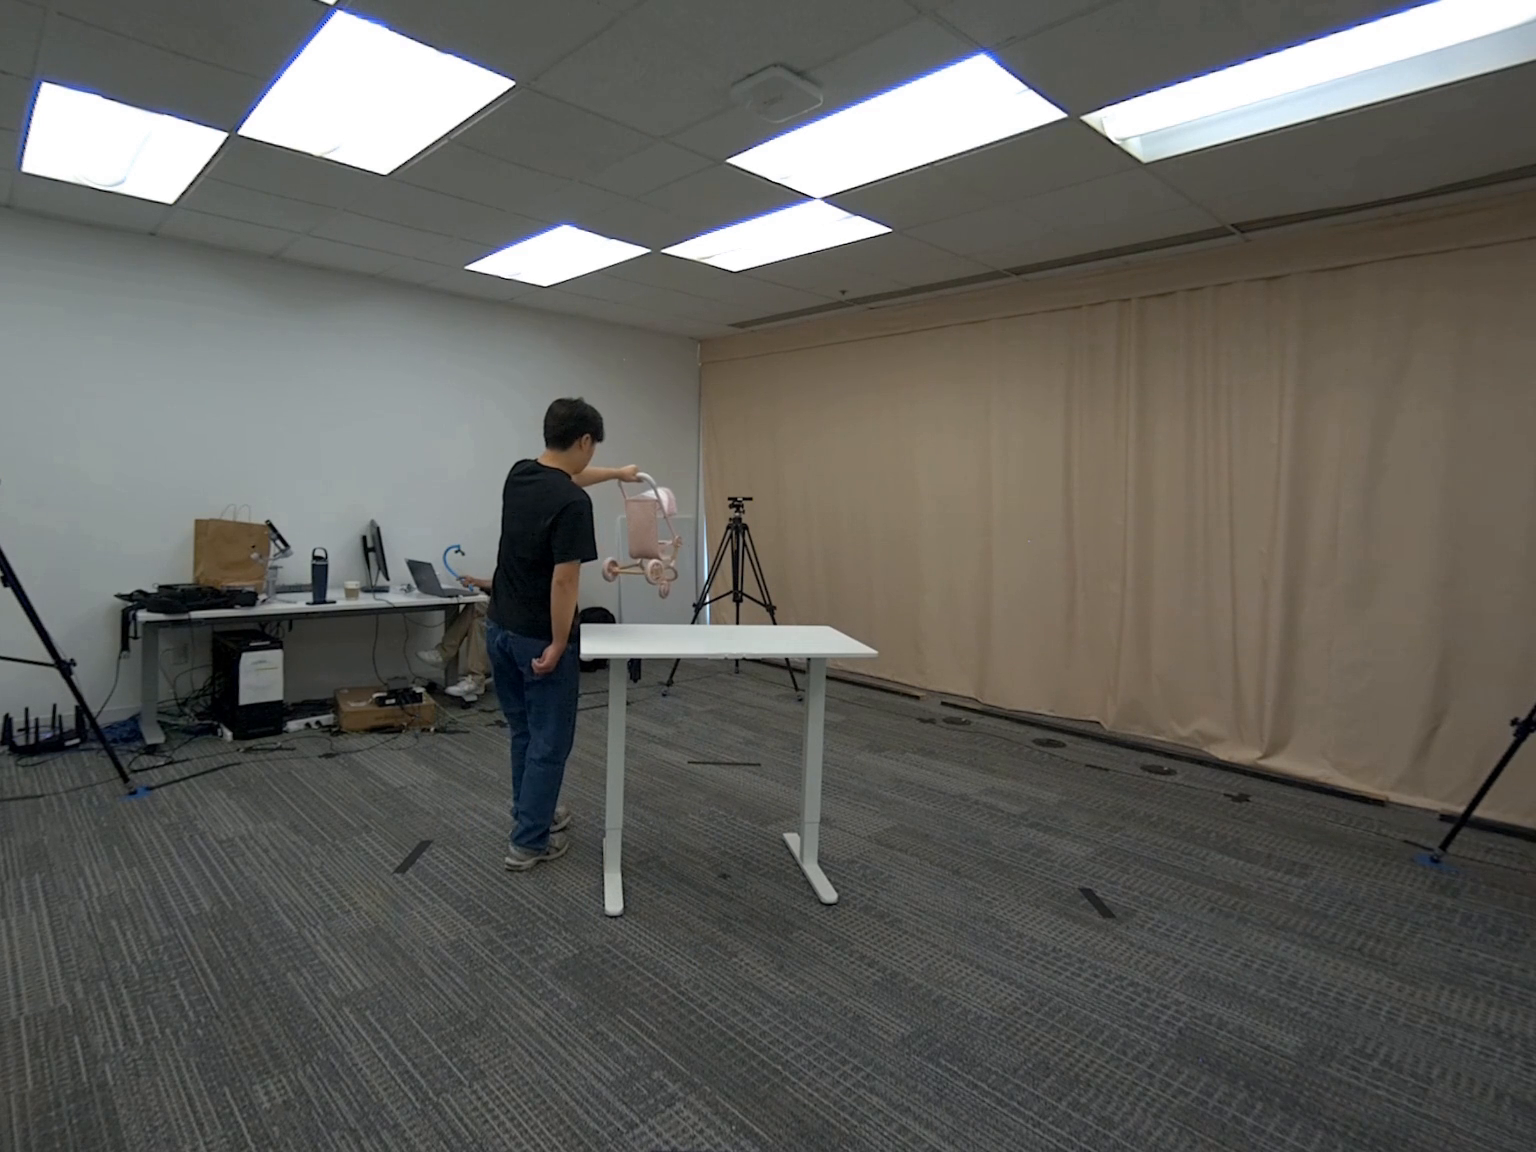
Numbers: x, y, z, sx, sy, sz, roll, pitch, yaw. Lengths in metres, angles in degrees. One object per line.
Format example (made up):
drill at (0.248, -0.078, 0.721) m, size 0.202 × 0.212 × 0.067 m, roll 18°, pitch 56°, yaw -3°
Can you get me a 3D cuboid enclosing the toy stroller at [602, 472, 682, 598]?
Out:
toy stroller at (-0.537, -0.168, 3.792) m, size 0.288 × 0.536 × 0.332 m, roll 2°, pitch -5°, yaw 36°
